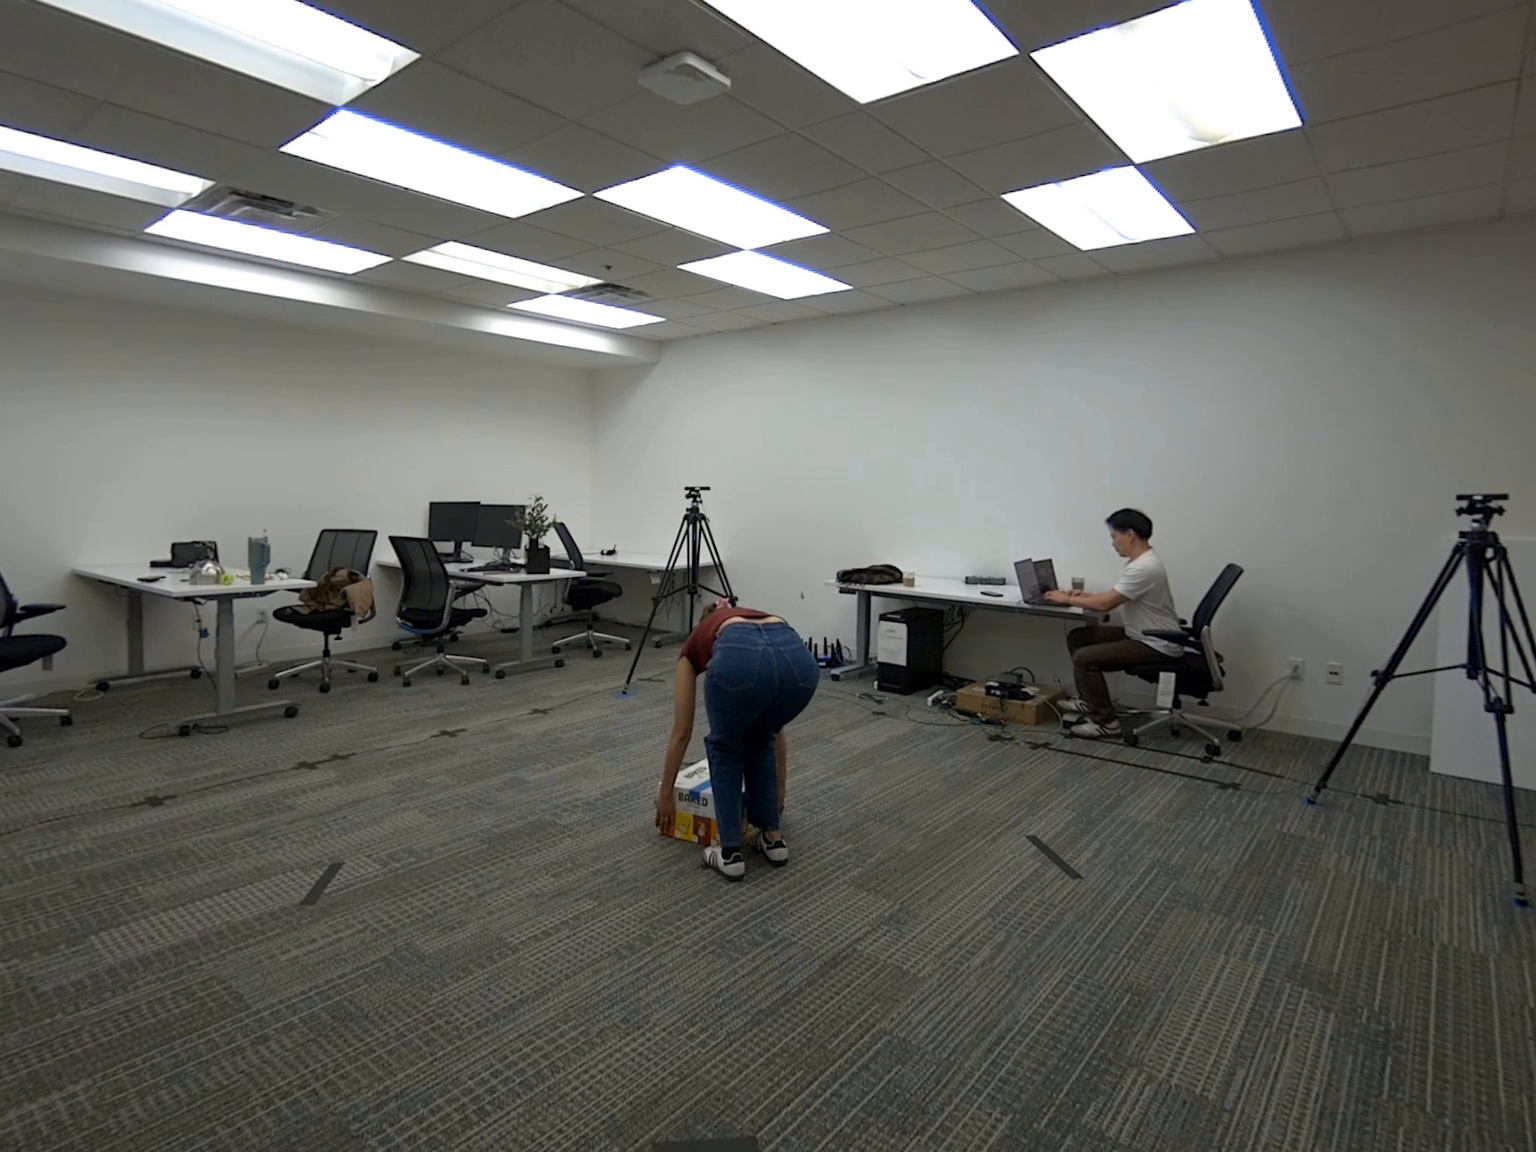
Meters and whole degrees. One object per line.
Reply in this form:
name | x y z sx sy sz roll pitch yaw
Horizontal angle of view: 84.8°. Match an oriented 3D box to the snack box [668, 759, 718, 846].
snack box | -0.214 0.910 3.500 0.350 0.205 0.395 3 6 28
